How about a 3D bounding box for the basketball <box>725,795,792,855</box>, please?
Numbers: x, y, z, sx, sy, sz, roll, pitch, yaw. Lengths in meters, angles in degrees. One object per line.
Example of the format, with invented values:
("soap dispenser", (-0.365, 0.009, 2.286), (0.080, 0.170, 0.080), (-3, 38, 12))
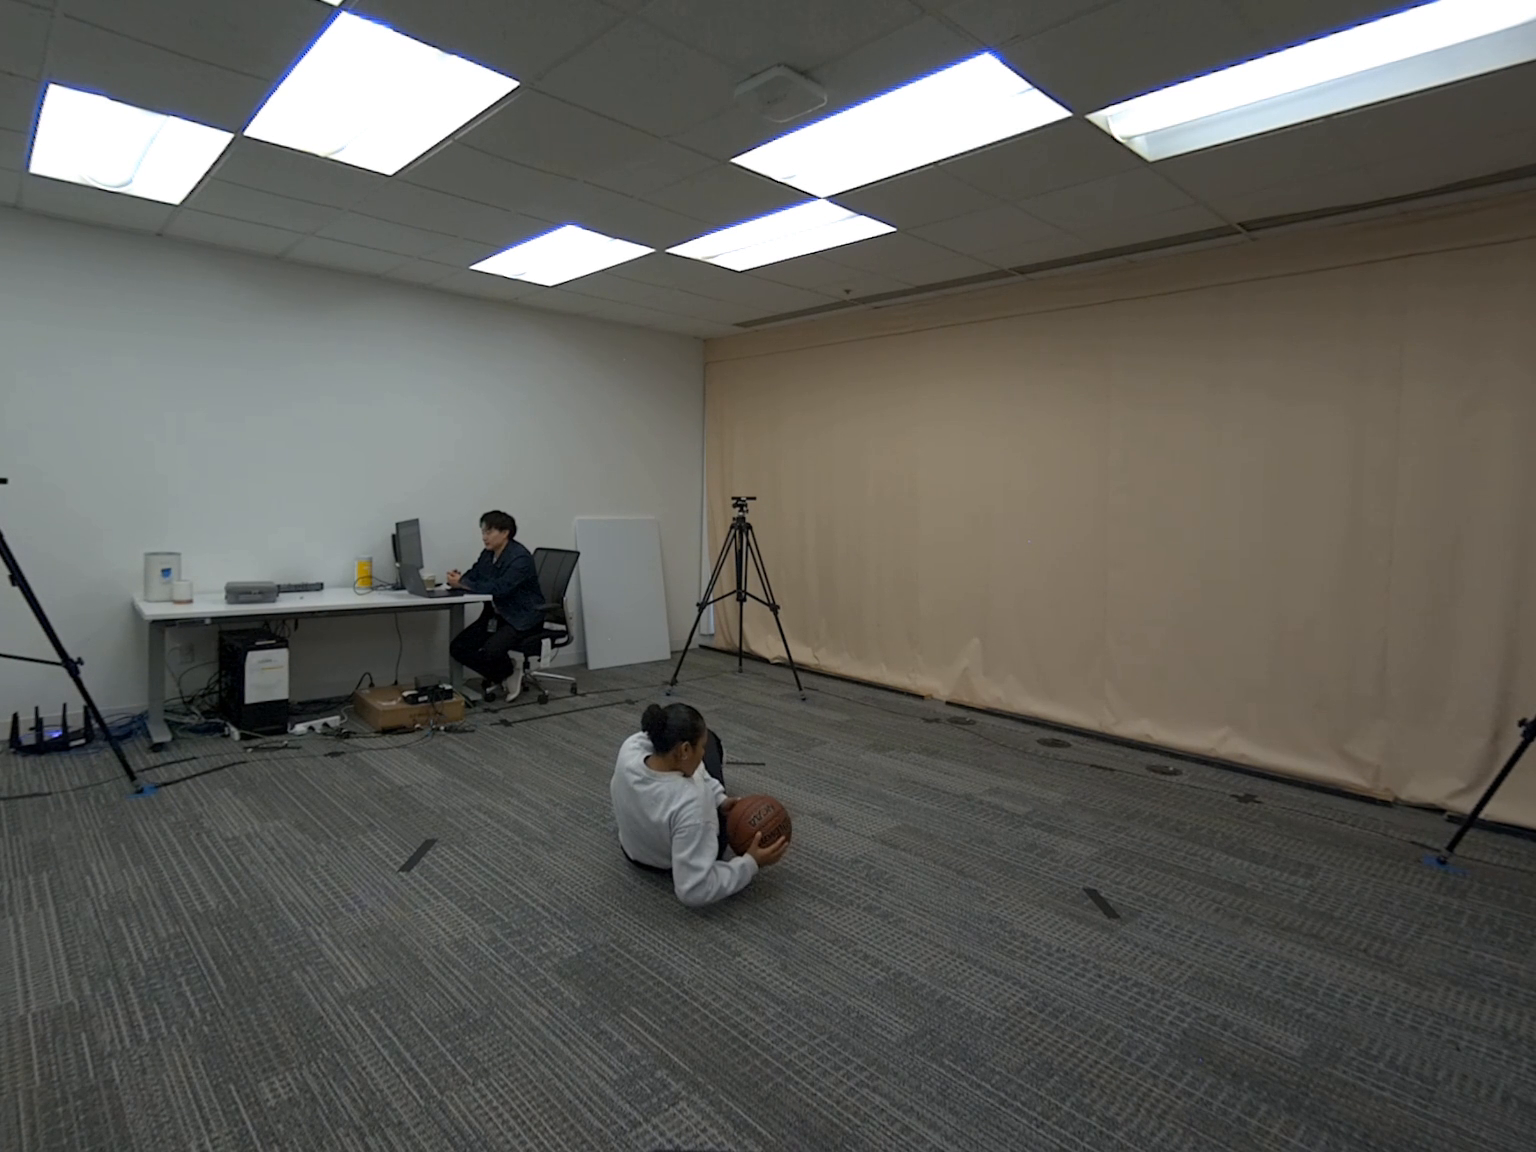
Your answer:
("basketball", (-0.044, 0.900, 3.052), (0.236, 0.235, 0.237), (1, 4, -1))
